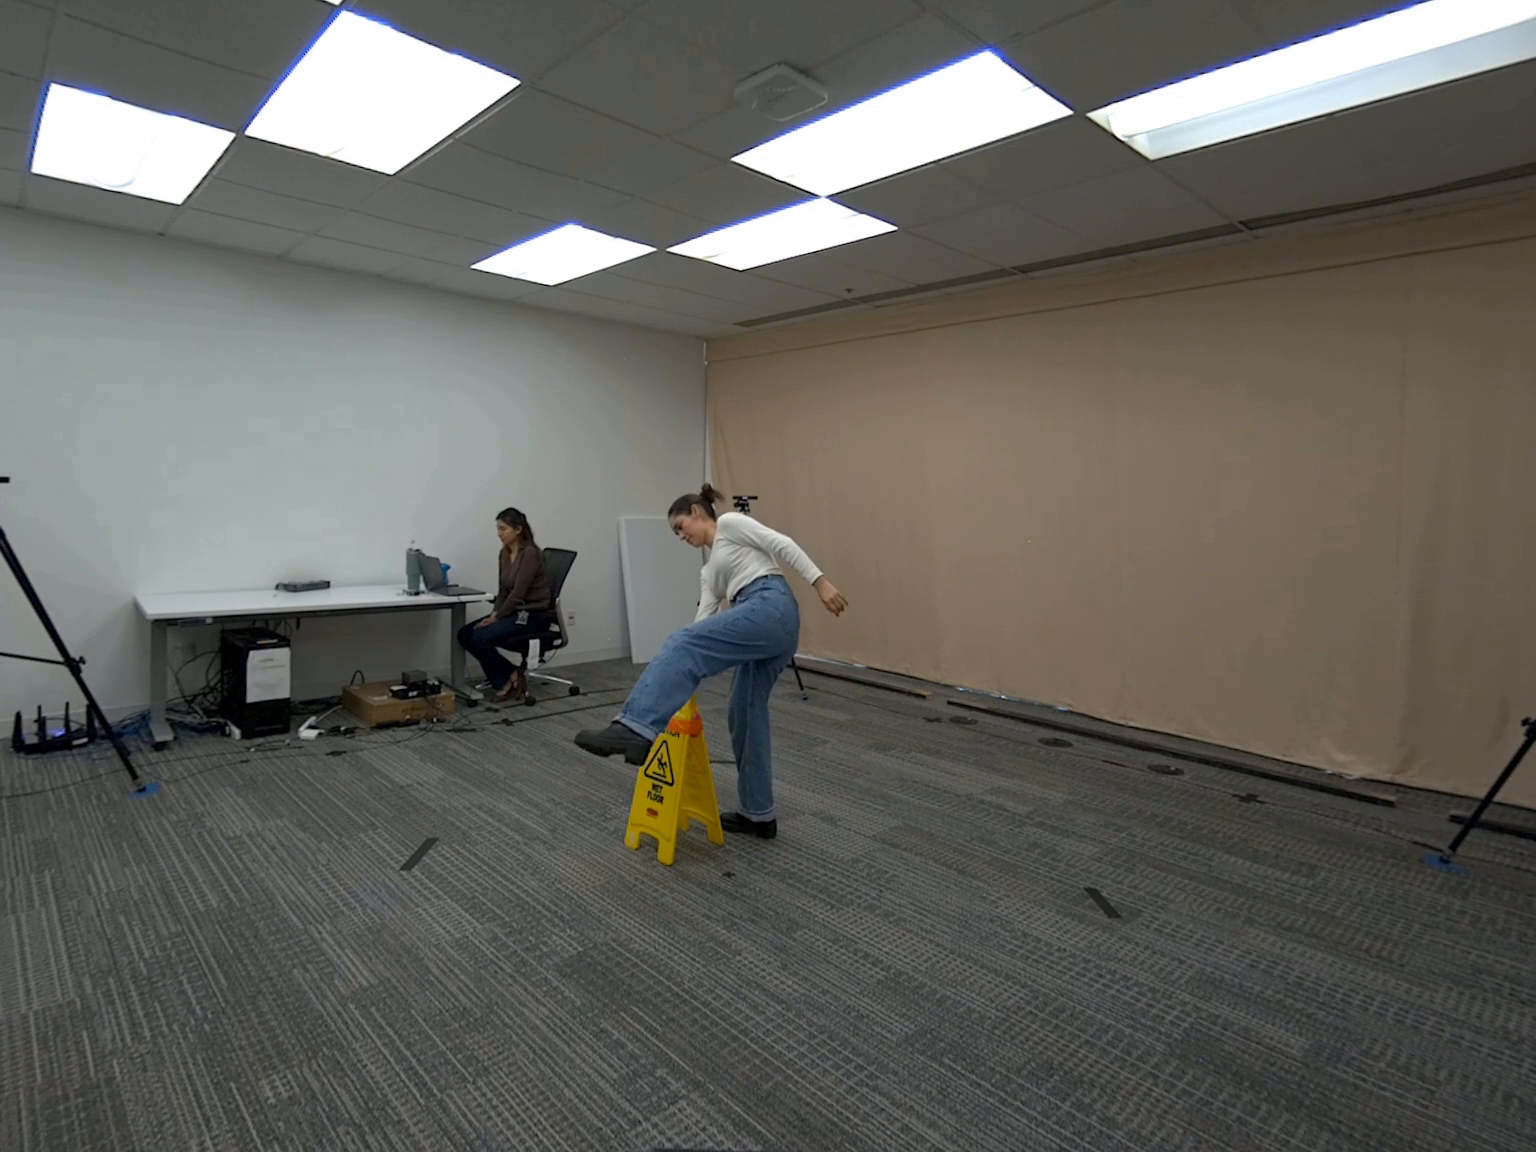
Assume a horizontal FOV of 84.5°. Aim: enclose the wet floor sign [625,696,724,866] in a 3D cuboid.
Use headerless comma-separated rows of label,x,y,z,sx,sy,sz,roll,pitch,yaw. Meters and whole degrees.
wet floor sign,-0.373,0.753,3.351,0.289,0.645,0.283,4,3,43
